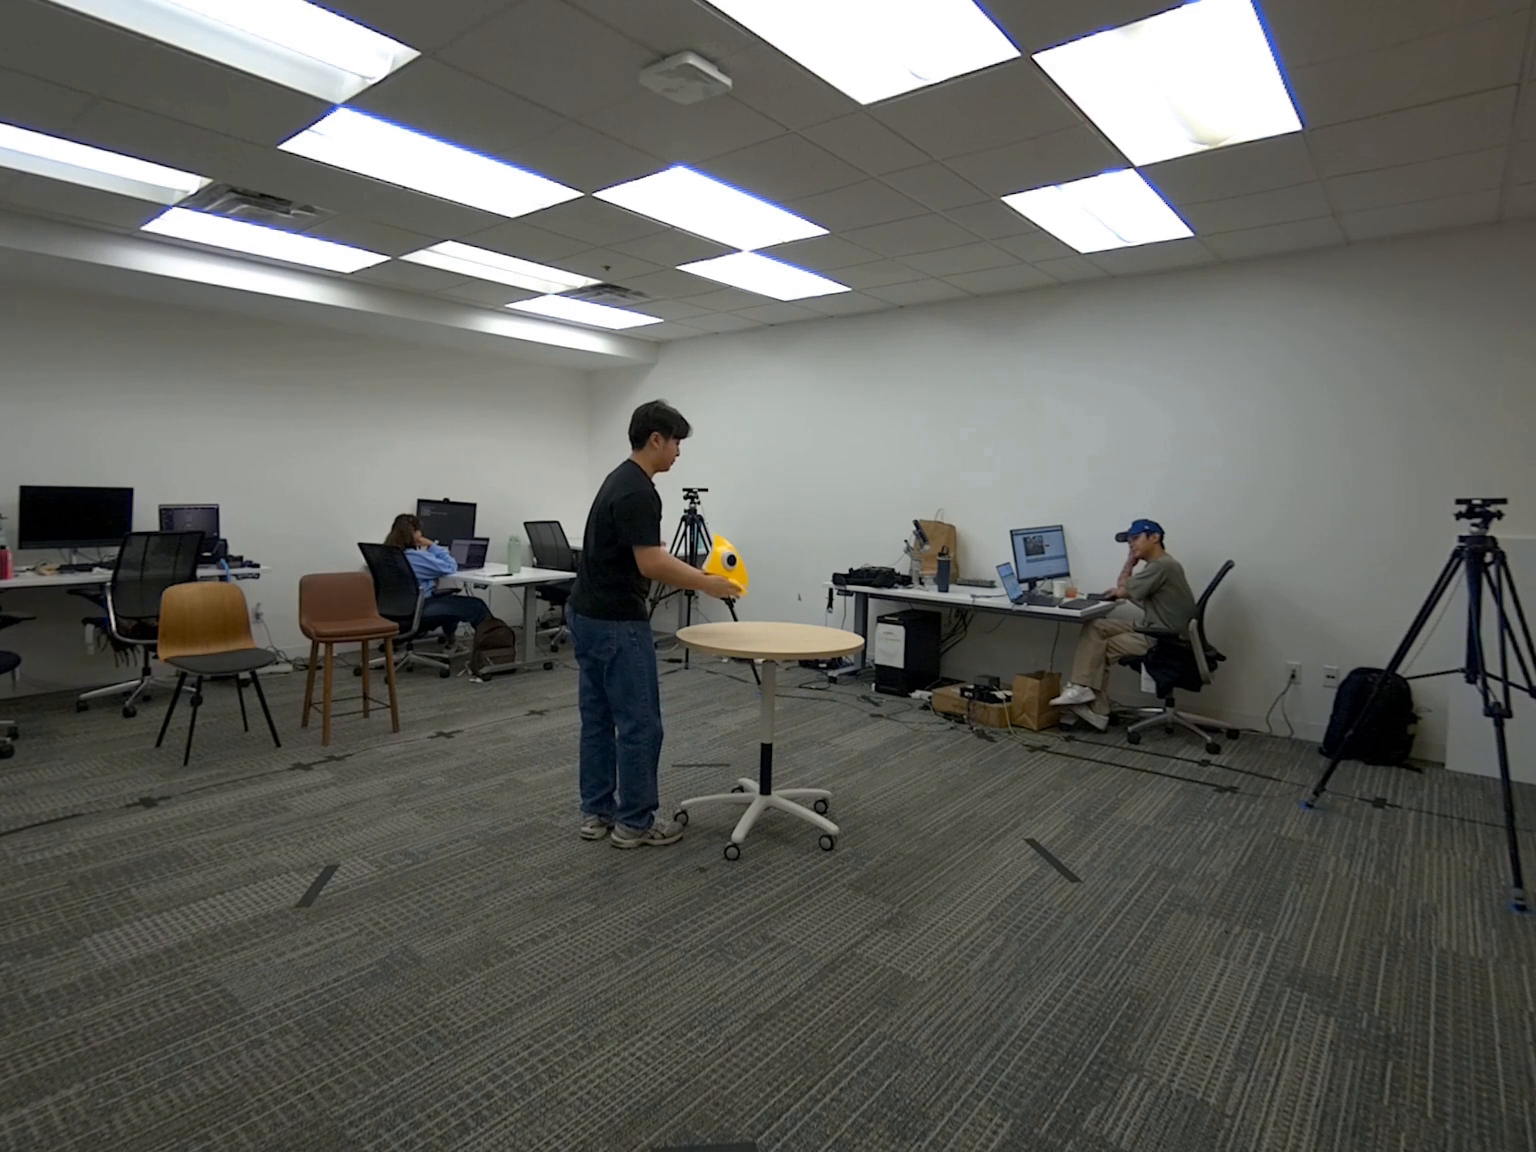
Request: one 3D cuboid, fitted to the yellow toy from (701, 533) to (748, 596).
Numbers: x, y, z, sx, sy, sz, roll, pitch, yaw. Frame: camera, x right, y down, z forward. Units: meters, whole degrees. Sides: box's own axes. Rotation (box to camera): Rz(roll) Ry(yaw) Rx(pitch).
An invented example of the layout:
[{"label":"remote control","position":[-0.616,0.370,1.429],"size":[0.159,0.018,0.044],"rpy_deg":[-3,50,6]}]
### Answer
[{"label":"yellow toy","position":[-0.175,-0.057,3.455],"size":[0.192,0.230,0.207],"rpy_deg":[5,3,-6]}]
